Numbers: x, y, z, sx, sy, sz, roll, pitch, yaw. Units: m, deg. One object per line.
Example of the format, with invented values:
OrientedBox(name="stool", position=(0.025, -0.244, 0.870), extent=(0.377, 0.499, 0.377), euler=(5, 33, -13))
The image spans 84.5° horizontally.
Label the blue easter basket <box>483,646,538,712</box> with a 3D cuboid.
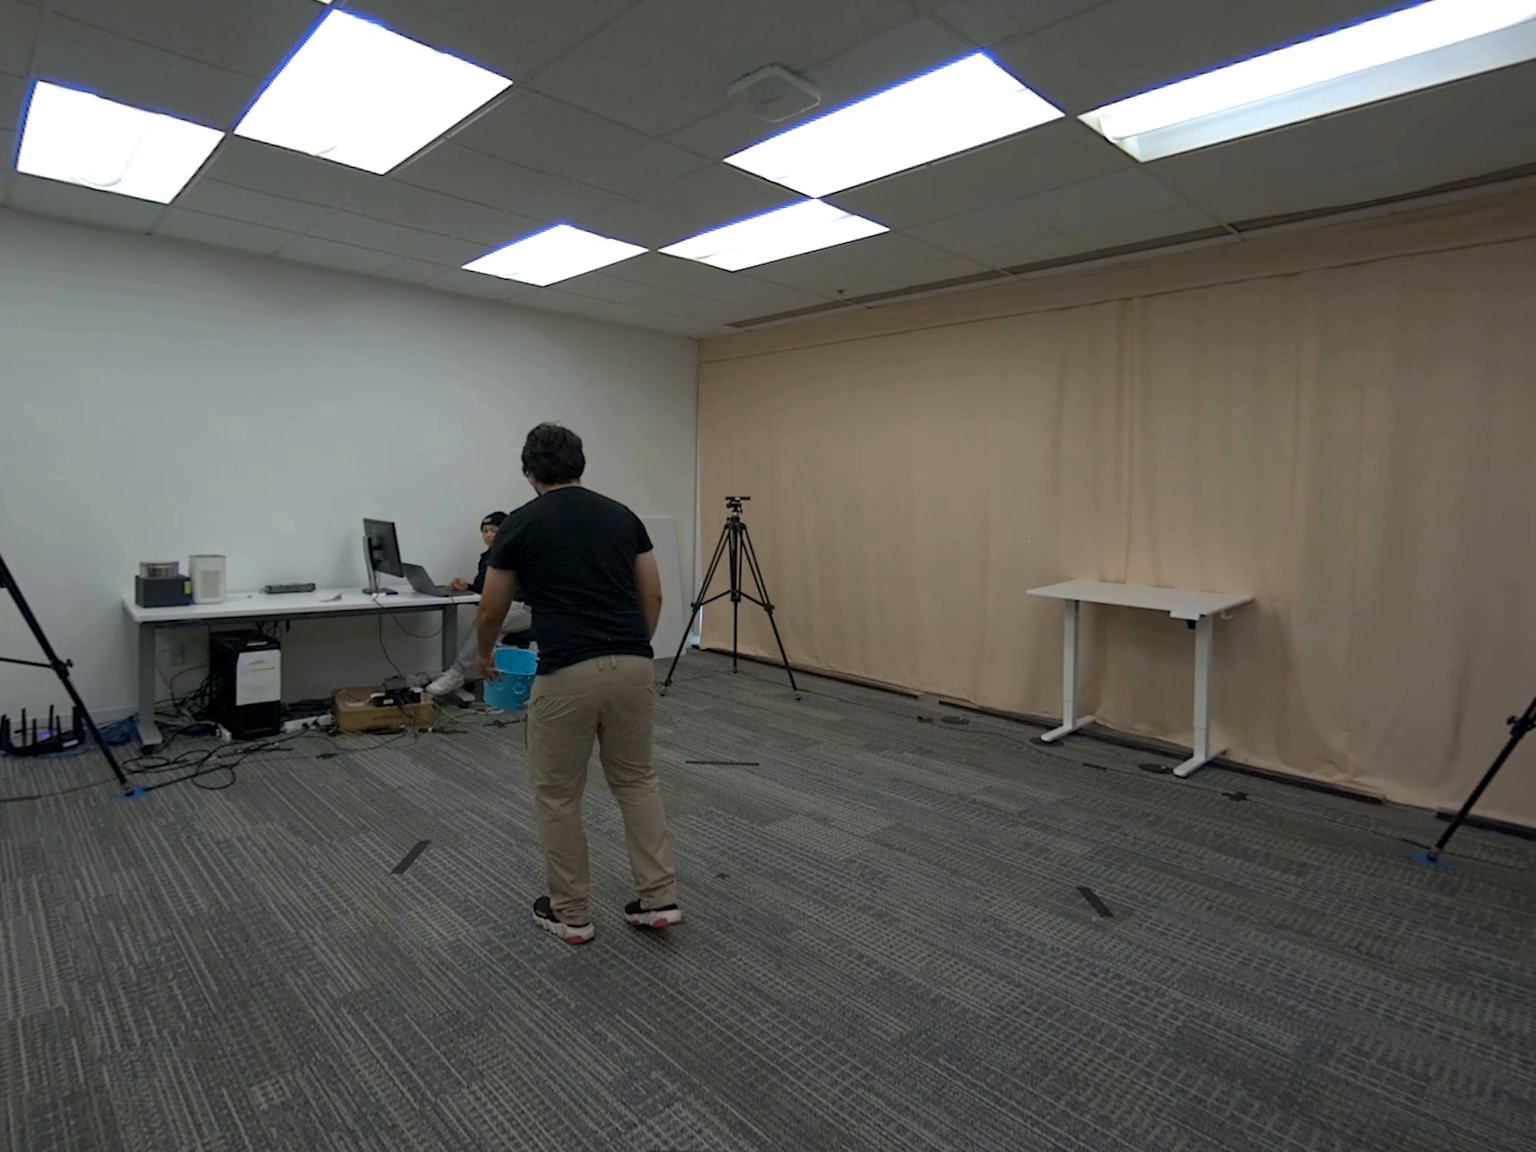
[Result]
OrientedBox(name="blue easter basket", position=(-0.931, 0.376, 3.023), extent=(0.243, 0.155, 0.246), euler=(10, 13, -4))
